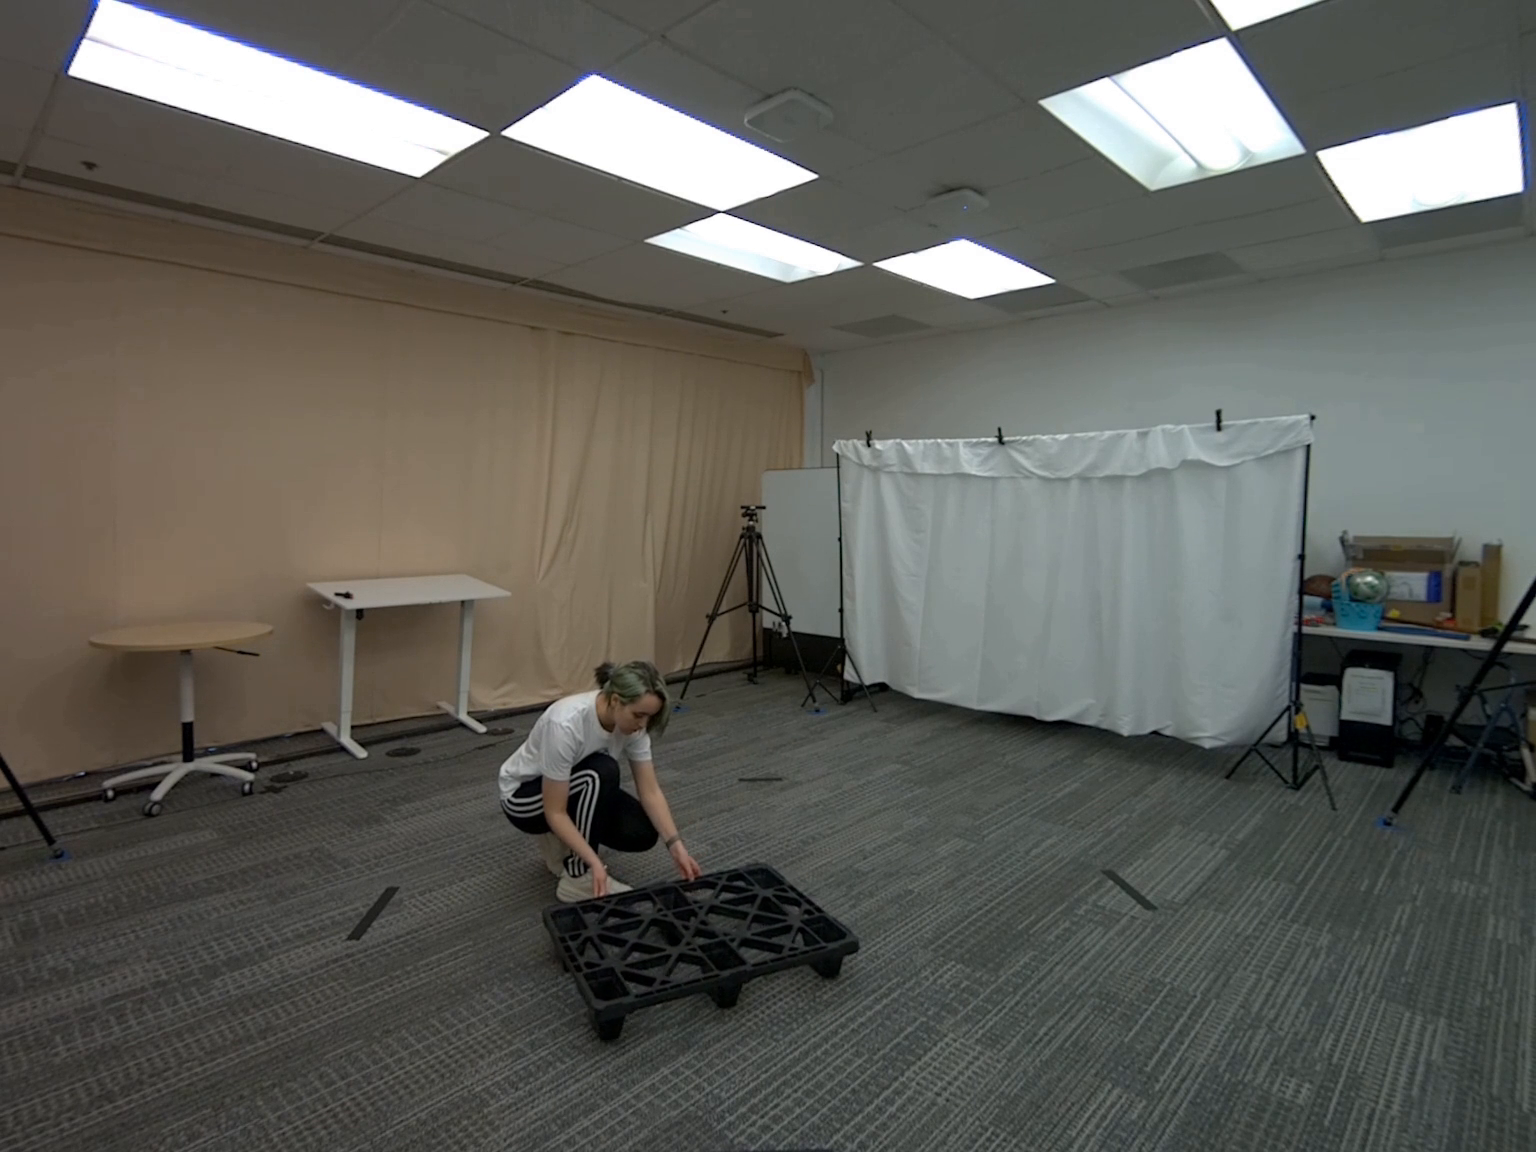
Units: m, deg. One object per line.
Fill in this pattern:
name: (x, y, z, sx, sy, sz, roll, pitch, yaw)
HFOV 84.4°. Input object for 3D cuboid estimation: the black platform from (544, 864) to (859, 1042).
black platform: (-0.209, 1.115, 2.539, 0.786, 0.143, 0.622, -3, 6, -26)
